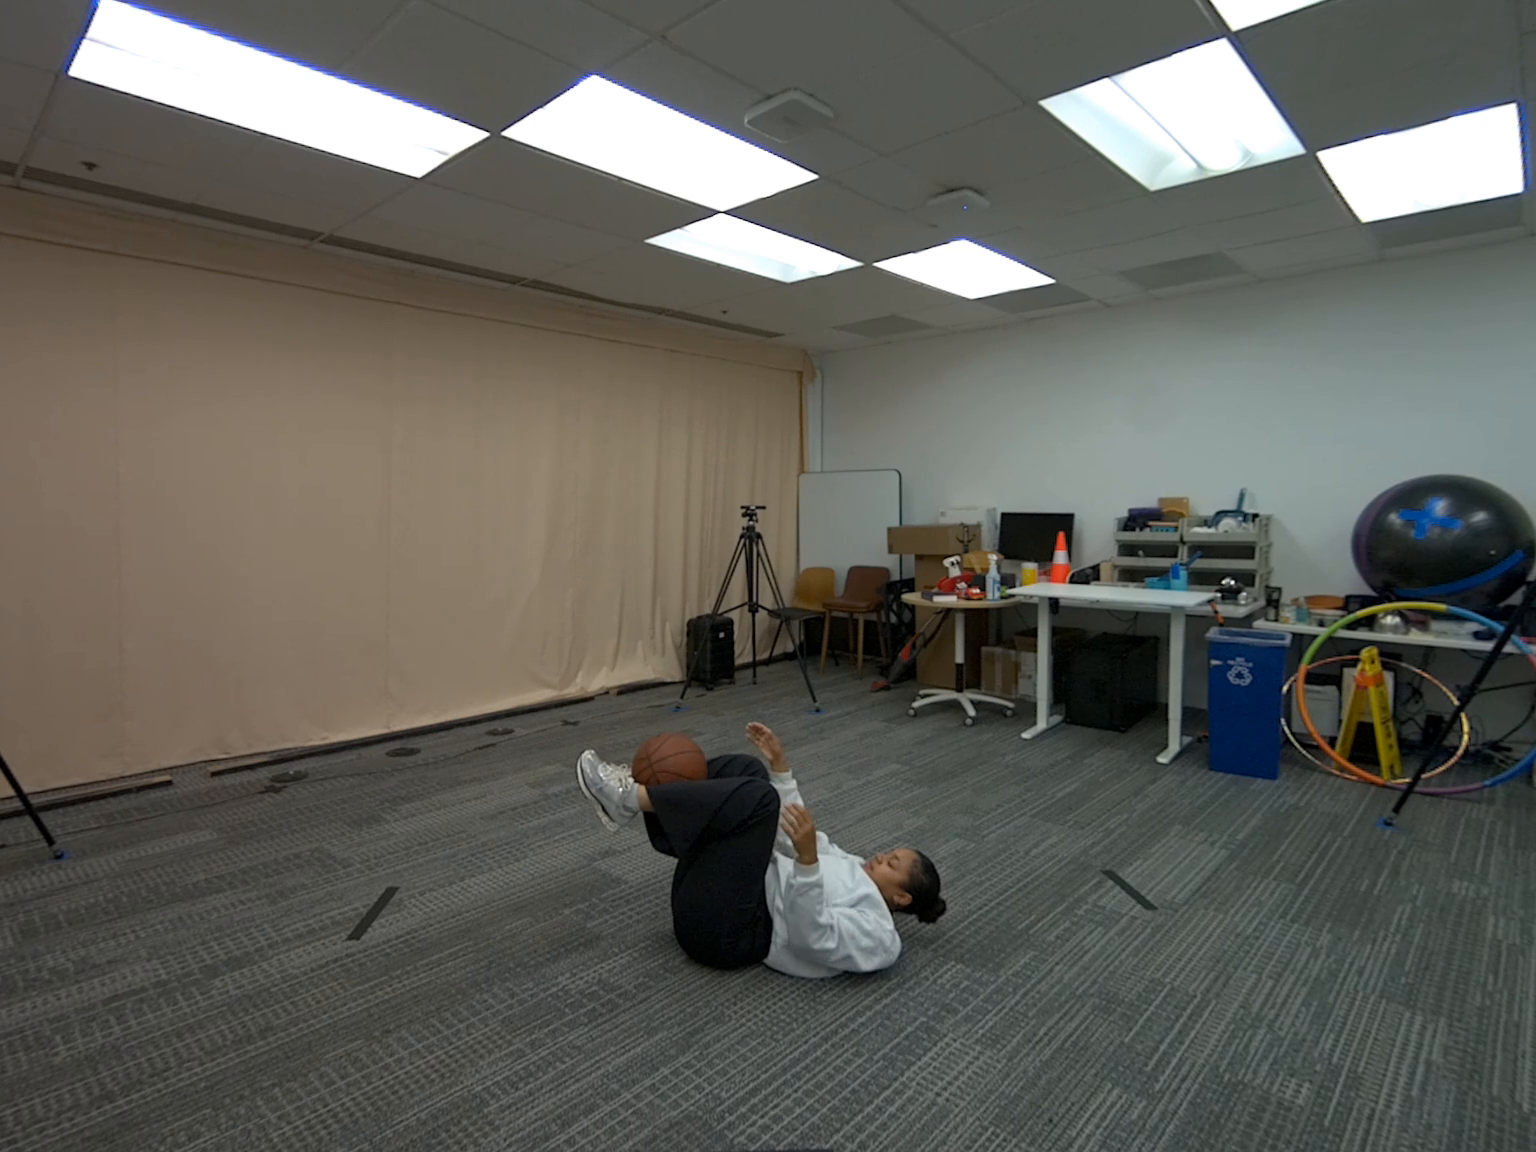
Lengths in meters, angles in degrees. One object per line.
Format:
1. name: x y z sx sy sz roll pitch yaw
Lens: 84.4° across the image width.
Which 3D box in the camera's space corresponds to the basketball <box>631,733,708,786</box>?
1. basketball: -0.315 0.617 2.651 0.236 0.235 0.237 0 4 -2
